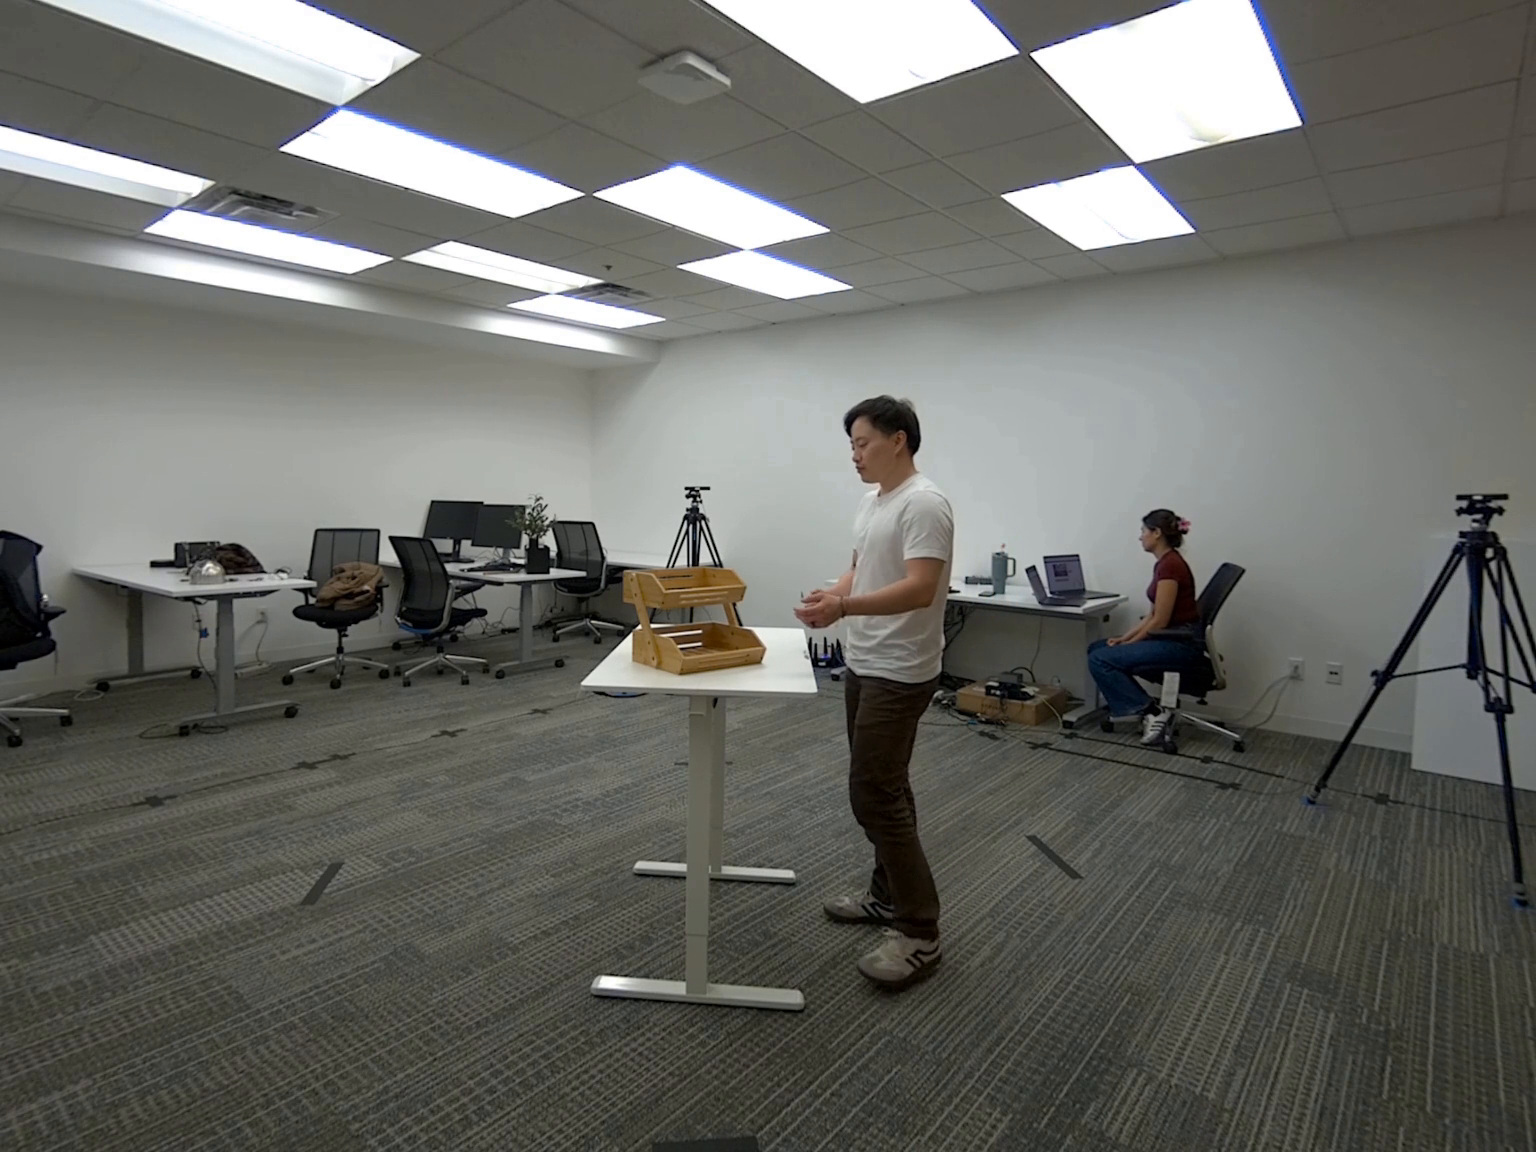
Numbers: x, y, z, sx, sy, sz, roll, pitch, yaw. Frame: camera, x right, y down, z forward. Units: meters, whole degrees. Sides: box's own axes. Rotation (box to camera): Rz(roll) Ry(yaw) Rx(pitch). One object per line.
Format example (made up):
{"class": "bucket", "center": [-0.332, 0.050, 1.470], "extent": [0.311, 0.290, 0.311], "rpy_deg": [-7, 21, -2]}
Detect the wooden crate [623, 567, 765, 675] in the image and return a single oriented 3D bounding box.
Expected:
{"class": "wooden crate", "center": [-0.223, 0.113, 2.483], "extent": [0.315, 0.273, 0.312], "rpy_deg": [-2, 4, -40]}
